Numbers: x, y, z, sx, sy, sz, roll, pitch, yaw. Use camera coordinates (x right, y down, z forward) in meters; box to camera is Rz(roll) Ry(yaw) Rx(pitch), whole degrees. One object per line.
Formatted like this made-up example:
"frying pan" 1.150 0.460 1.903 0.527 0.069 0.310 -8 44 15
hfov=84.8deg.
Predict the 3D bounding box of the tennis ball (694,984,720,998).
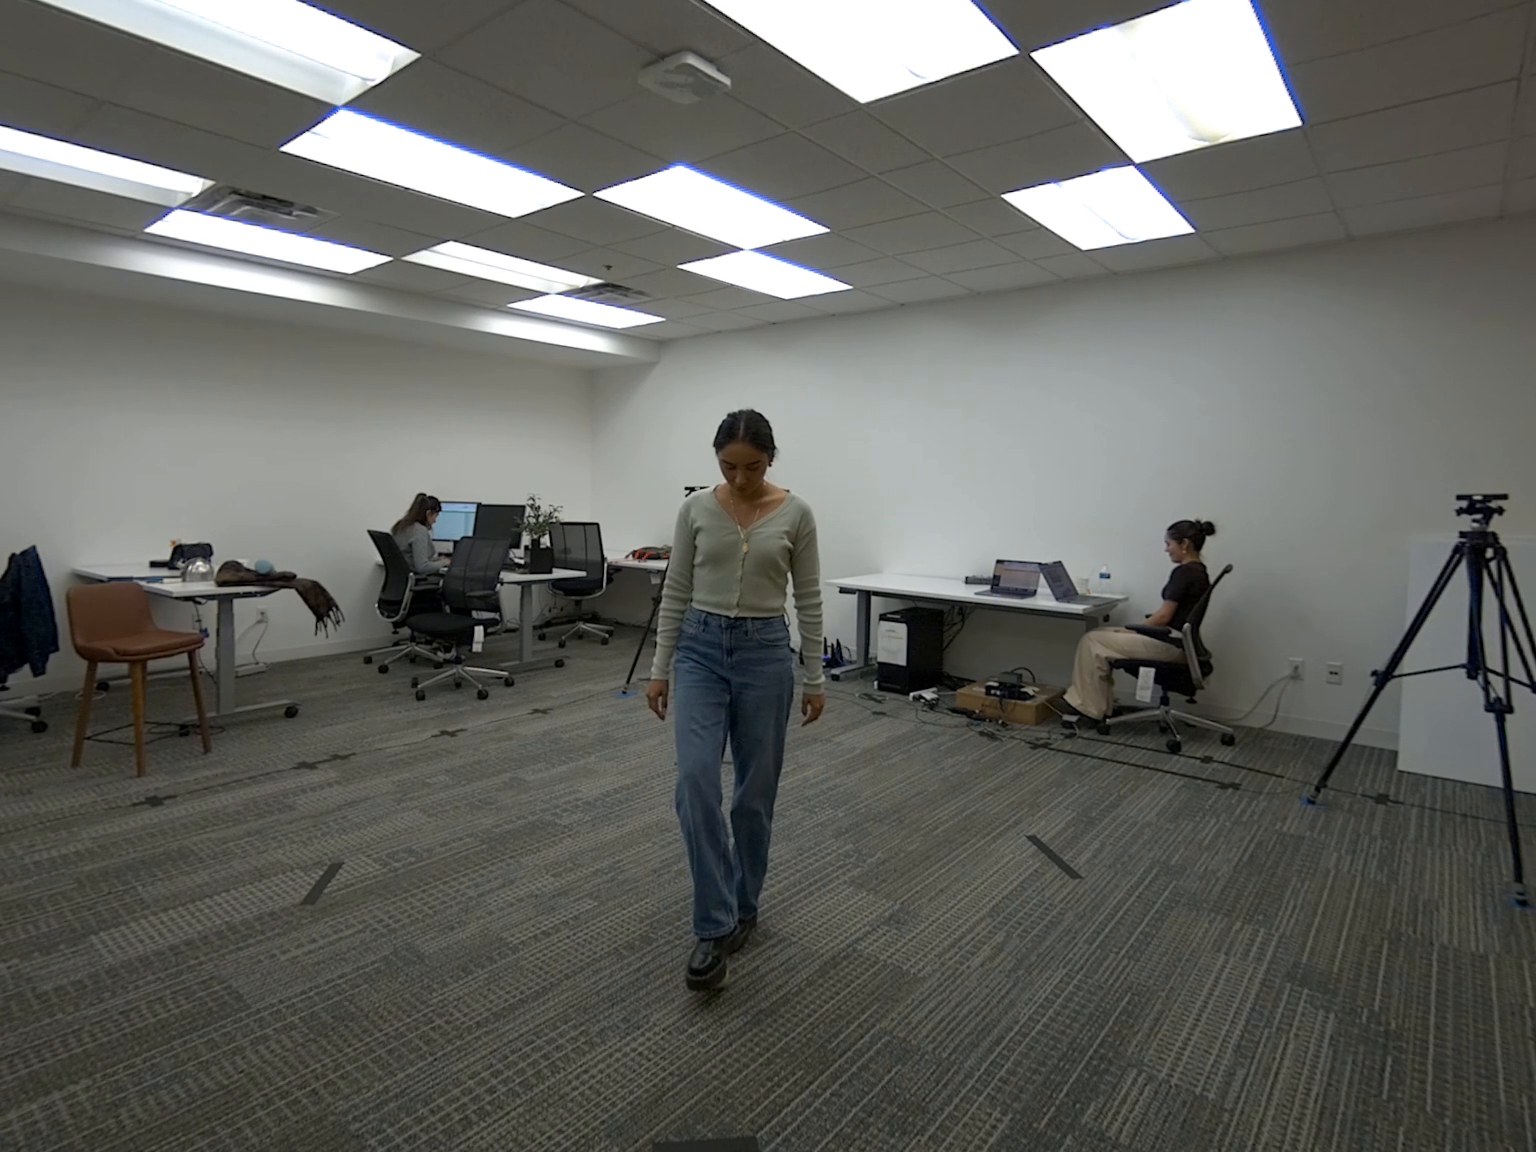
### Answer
"tennis ball" -0.169 1.111 2.322 0.066 0.066 0.067 1 4 -2
